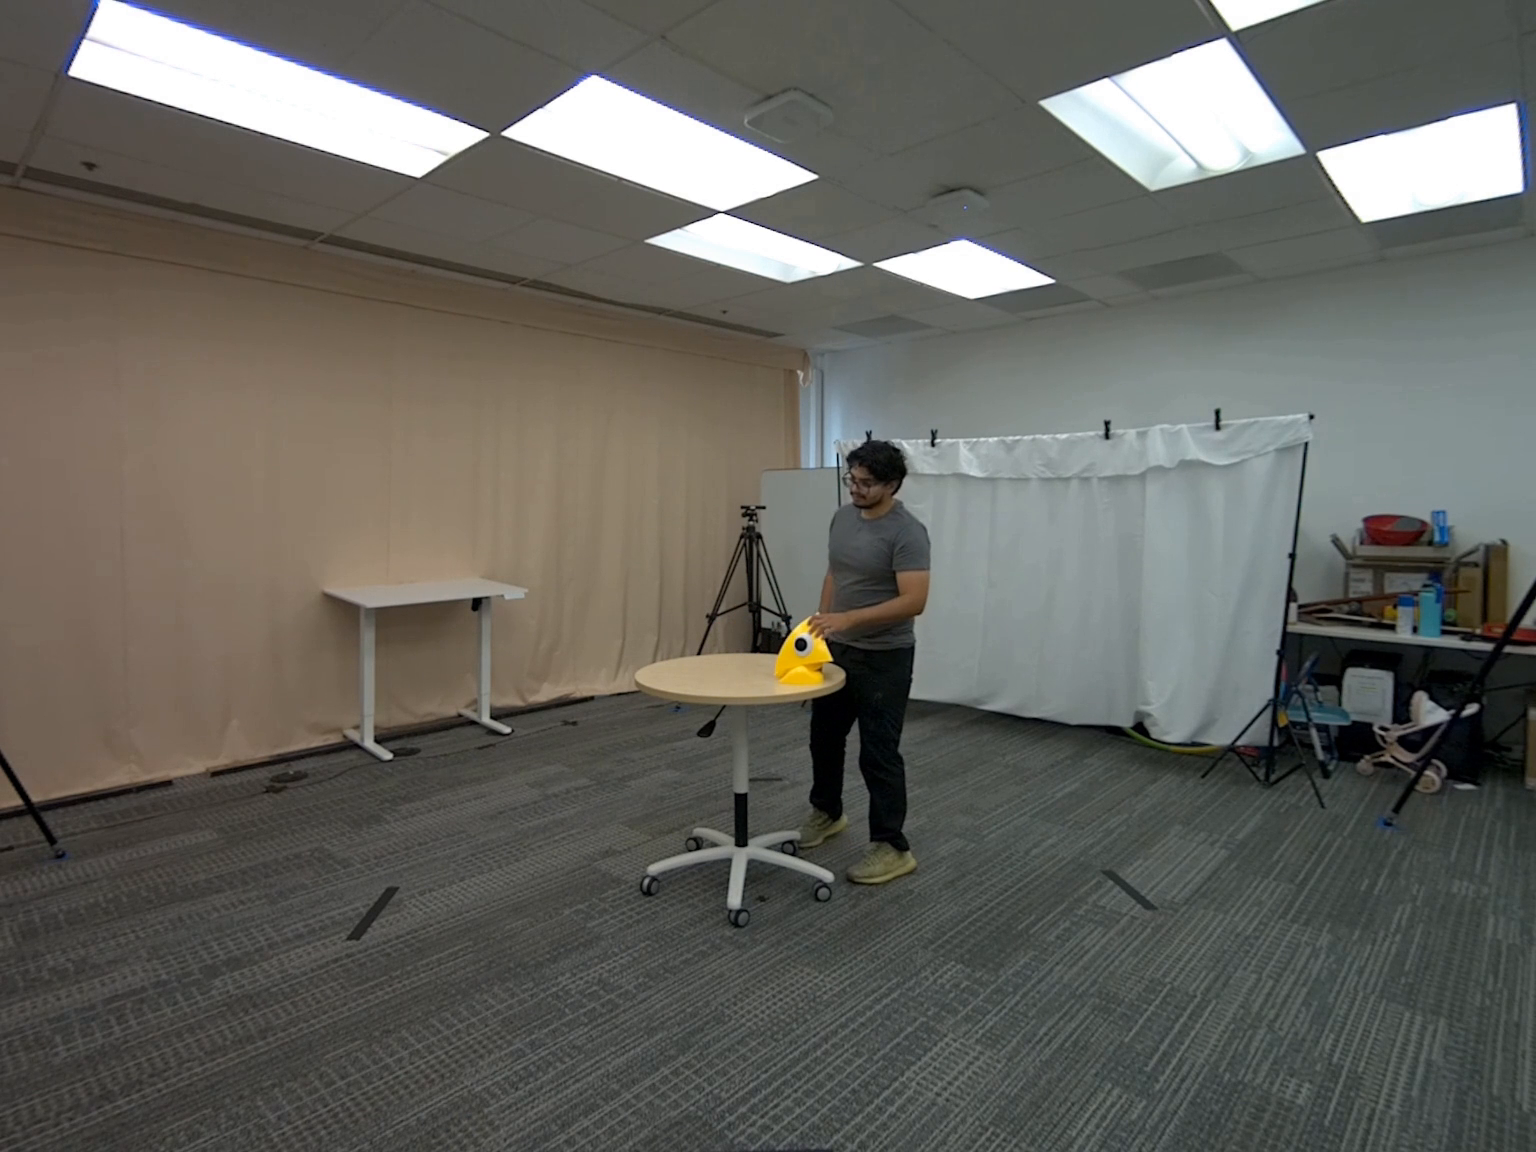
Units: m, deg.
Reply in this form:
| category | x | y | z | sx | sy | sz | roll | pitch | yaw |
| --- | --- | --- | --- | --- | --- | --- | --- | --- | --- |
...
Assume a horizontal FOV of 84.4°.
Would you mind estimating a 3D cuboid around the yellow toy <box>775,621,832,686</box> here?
| category | x | y | z | sx | sy | sz | roll | pitch | yaw |
| --- | --- | --- | --- | --- | --- | --- | --- | --- | --- |
| yellow toy | 0.112 | 0.247 | 2.956 | 0.192 | 0.230 | 0.206 | -1 | 4 | -6 |
